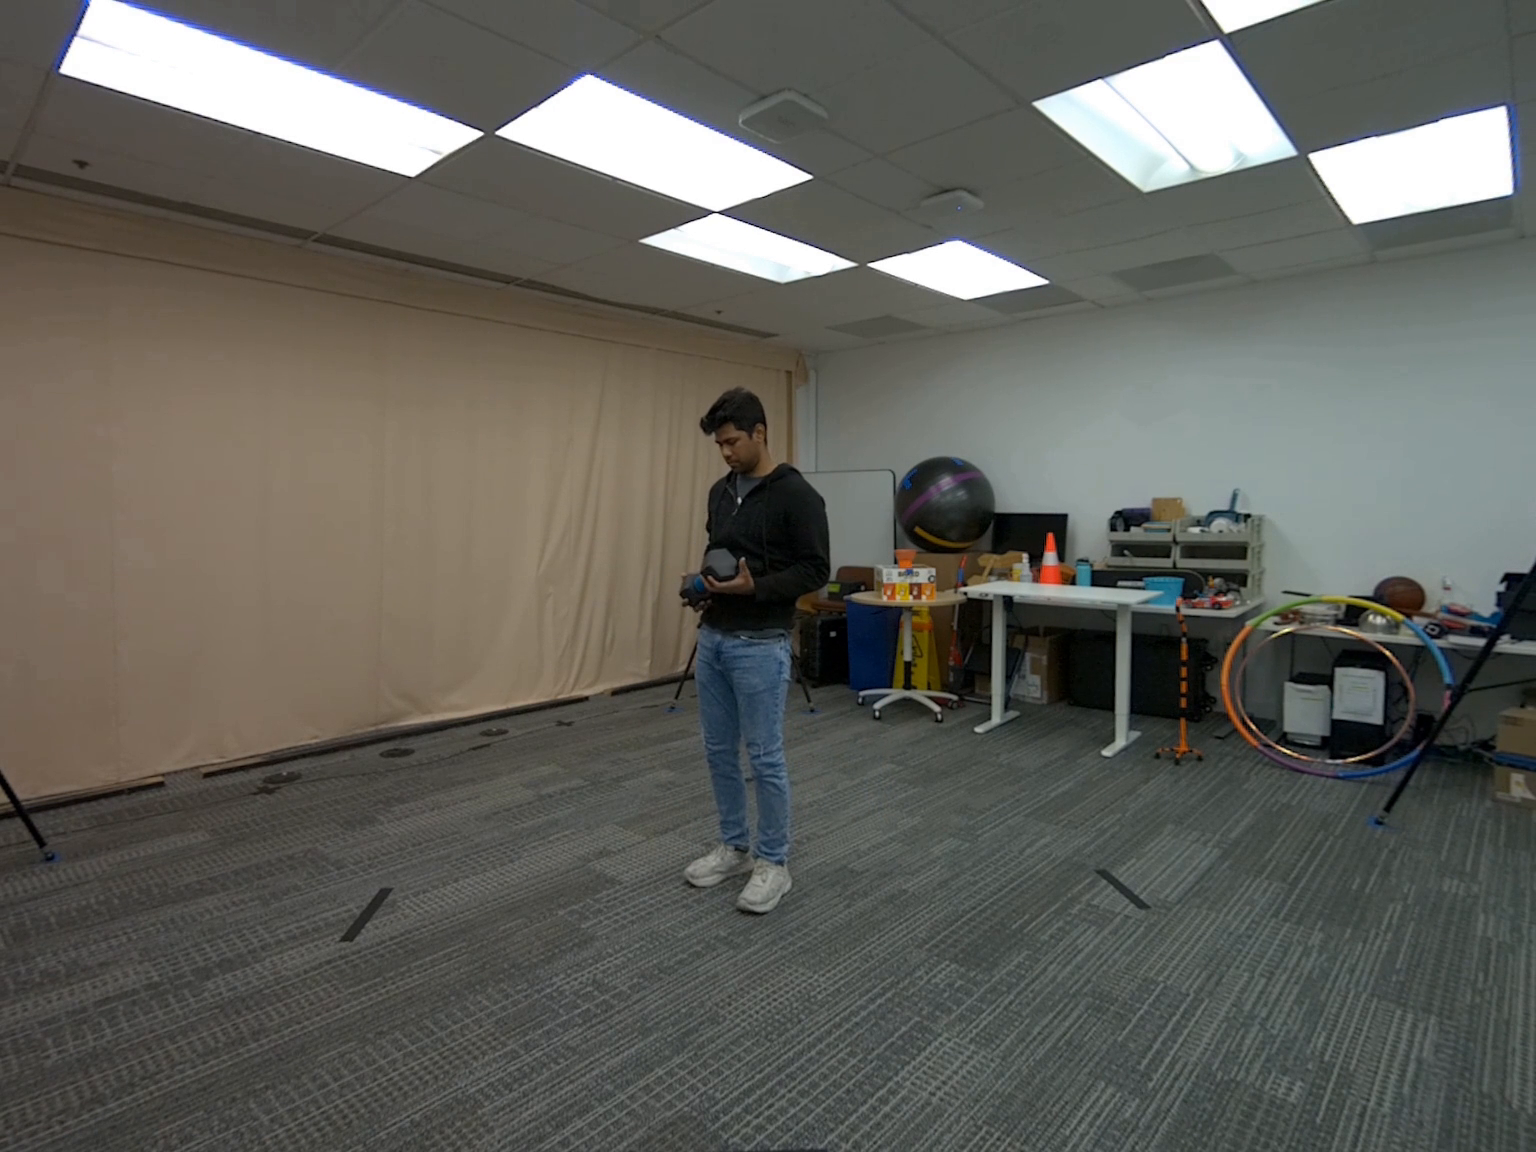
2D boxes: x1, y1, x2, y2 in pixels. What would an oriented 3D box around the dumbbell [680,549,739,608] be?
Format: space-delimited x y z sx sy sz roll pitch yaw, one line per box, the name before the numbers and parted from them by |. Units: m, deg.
dumbbell | -0.204 0.005 2.883 0.120 0.110 0.296 -6 -18 -27
